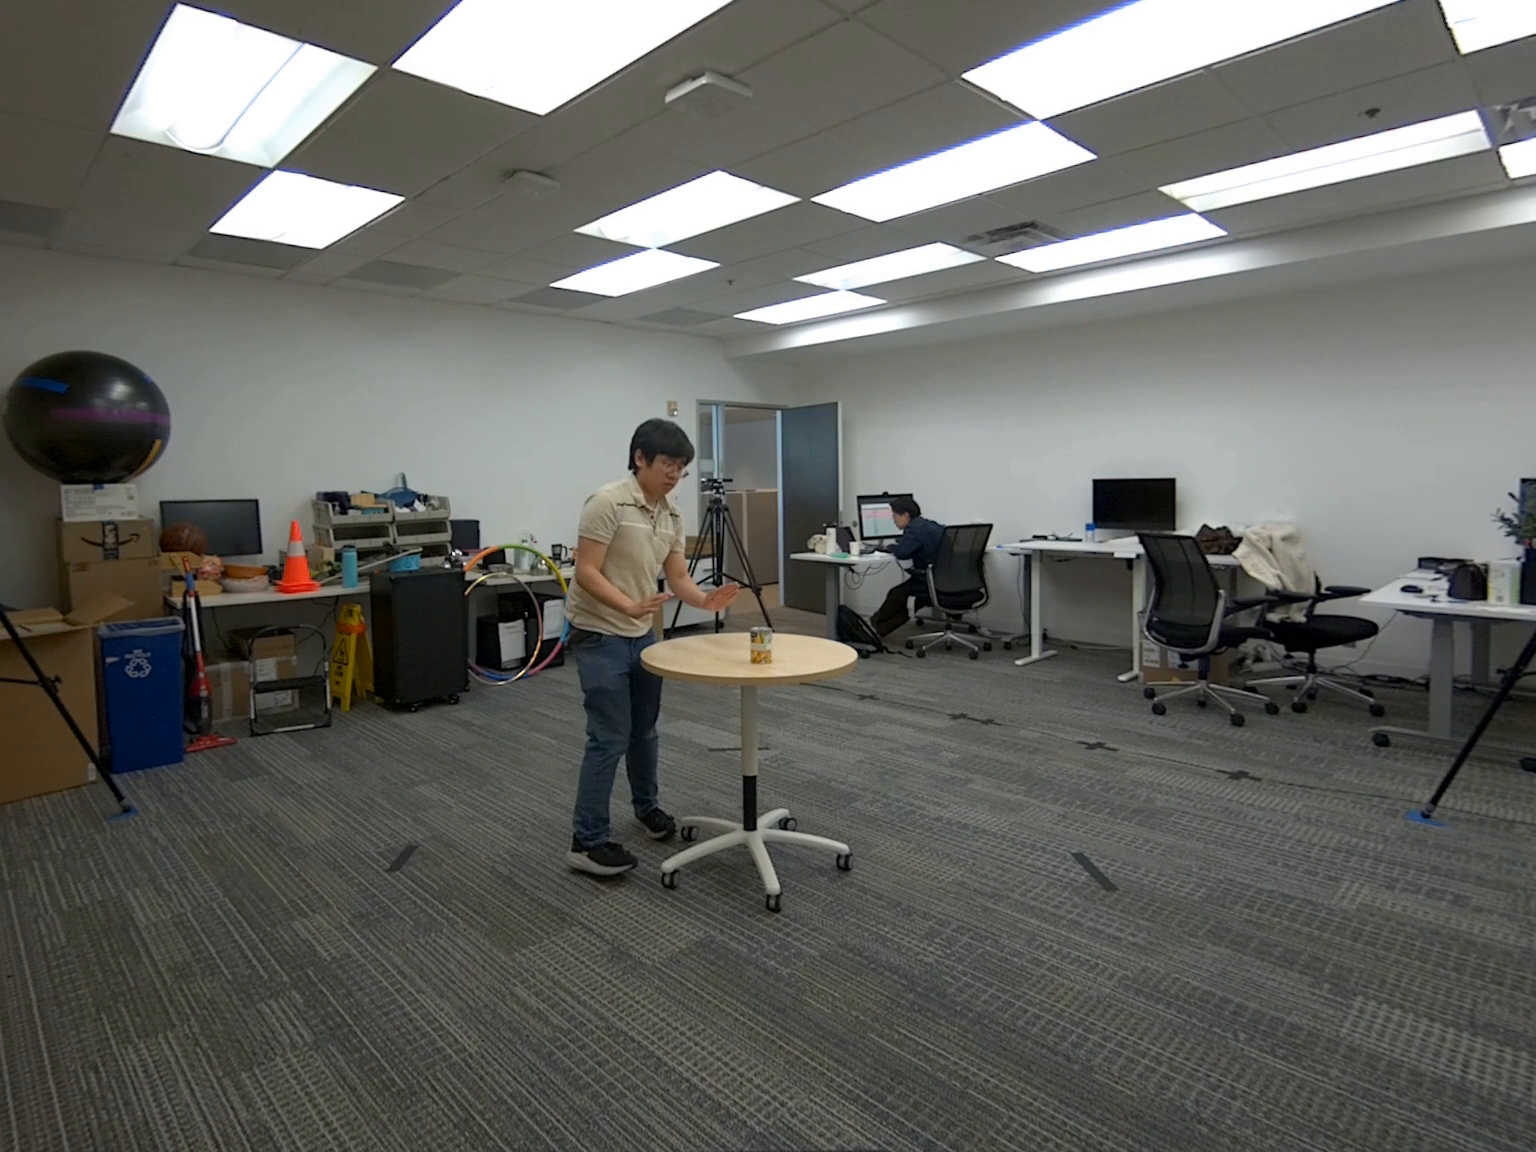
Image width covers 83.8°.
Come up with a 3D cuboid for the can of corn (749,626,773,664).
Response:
[{"bbox_3d":[-0.019,0.233,2.863,0.074,0.110,0.074,0,4,-2],"label":"can of corn"}]
